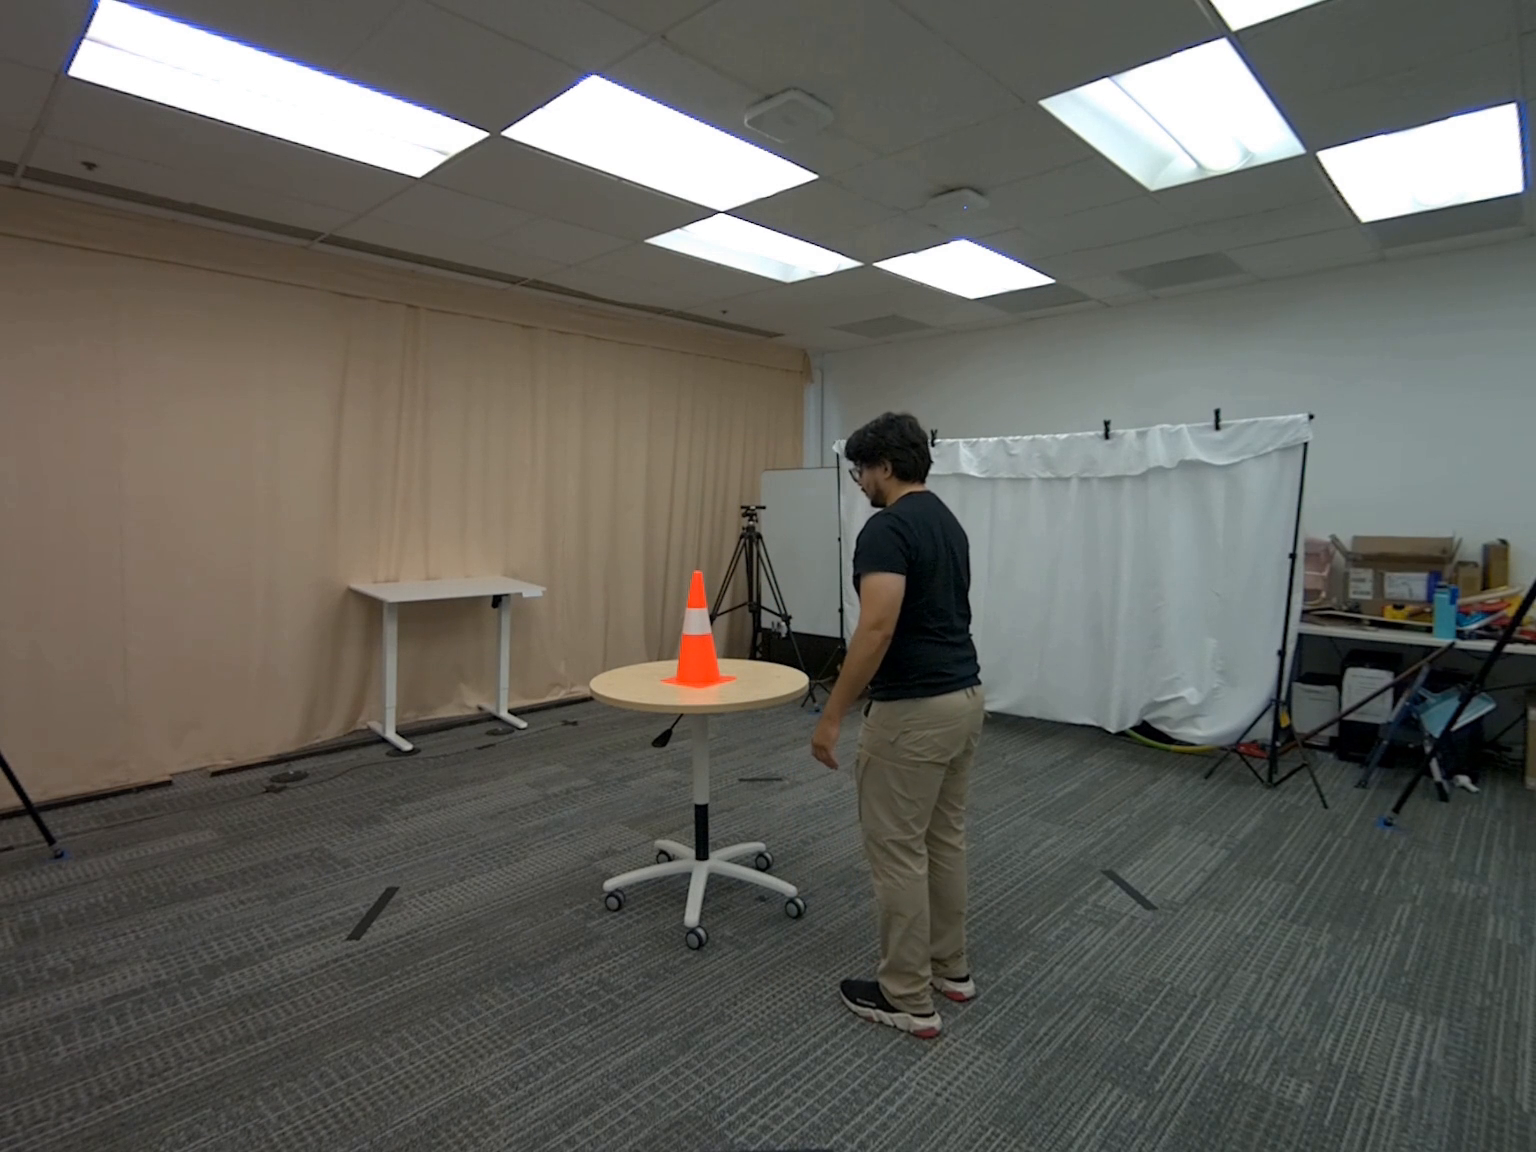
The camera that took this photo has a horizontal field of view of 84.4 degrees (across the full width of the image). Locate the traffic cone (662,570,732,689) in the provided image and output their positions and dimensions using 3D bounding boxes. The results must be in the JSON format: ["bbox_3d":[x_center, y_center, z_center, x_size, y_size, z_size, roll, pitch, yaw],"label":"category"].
[{"bbox_3d":[-0.249,0.179,2.940,0.211,0.383,0.198,-1,2,32],"label":"traffic cone"}]
